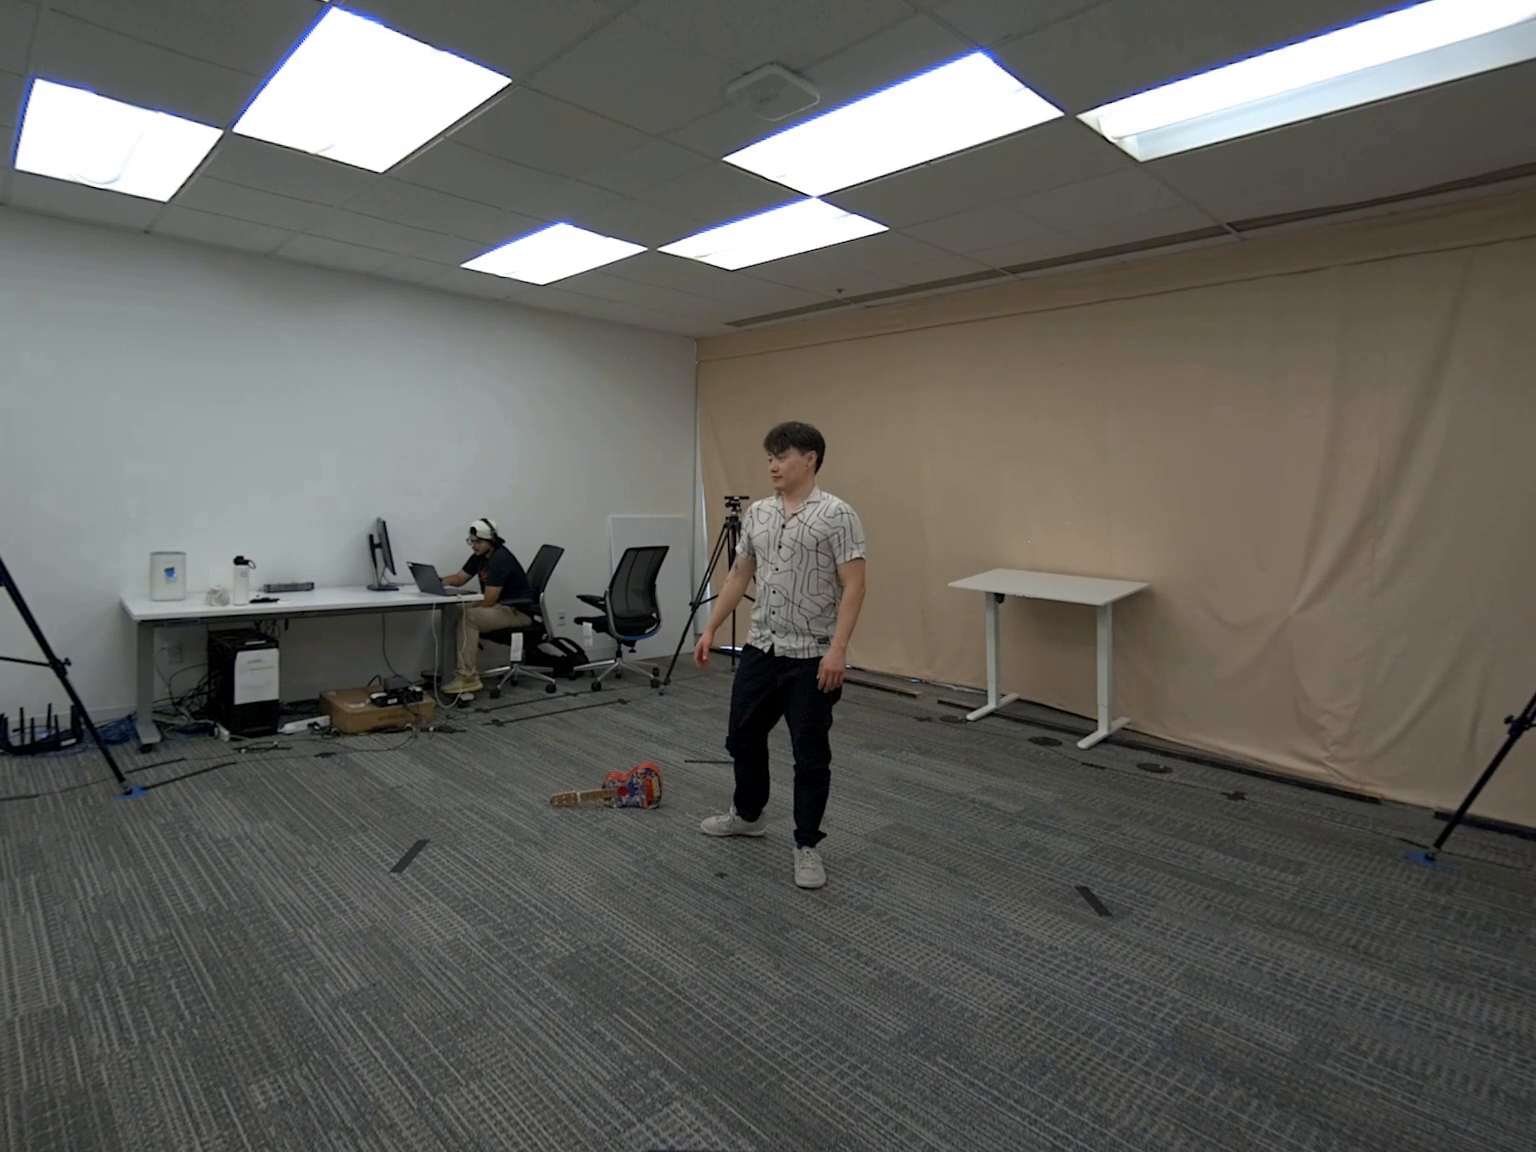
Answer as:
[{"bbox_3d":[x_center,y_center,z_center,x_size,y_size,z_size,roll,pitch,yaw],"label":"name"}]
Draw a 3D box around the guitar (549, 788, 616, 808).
[{"bbox_3d":[-0.732,0.943,3.765,0.497,0.192,0.071,0,8,-1],"label":"guitar"}]
